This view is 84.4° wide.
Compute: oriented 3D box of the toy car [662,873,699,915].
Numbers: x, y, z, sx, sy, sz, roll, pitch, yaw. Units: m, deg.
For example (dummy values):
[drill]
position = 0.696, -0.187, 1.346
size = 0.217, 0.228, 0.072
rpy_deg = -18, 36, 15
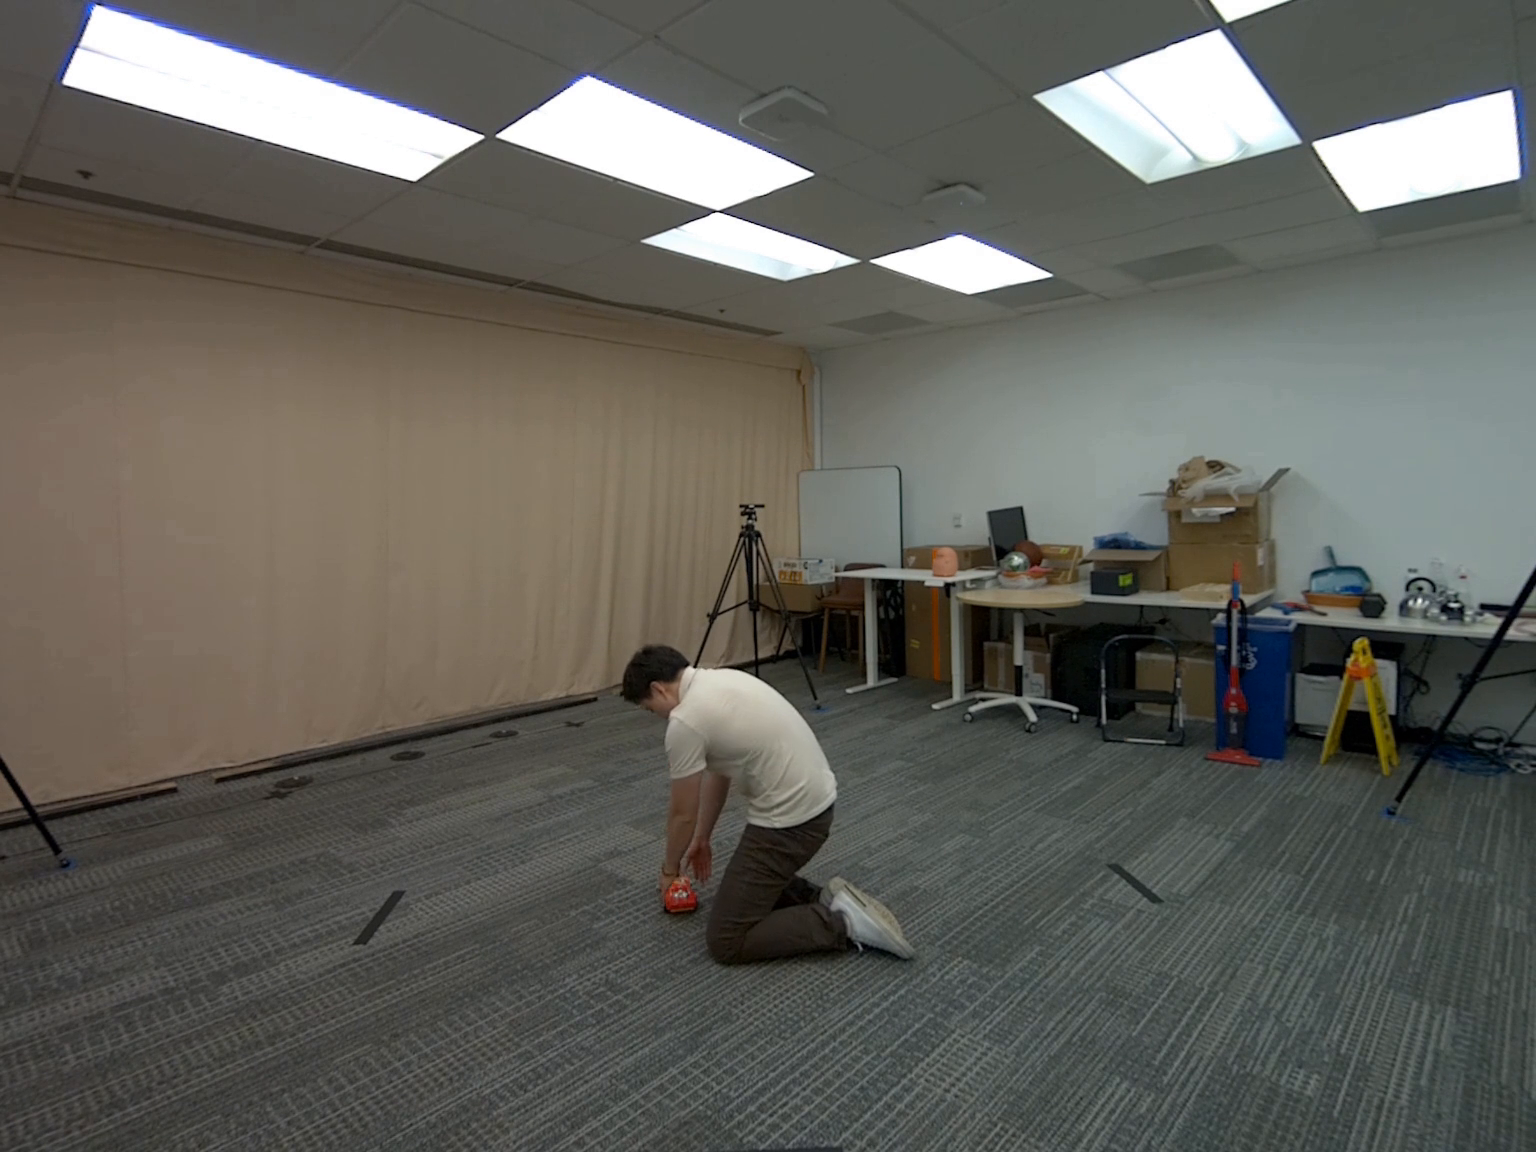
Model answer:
[toy car]
position = -0.317, 1.123, 2.951
size = 0.128, 0.083, 0.257
rpy_deg = -3, -6, -14
